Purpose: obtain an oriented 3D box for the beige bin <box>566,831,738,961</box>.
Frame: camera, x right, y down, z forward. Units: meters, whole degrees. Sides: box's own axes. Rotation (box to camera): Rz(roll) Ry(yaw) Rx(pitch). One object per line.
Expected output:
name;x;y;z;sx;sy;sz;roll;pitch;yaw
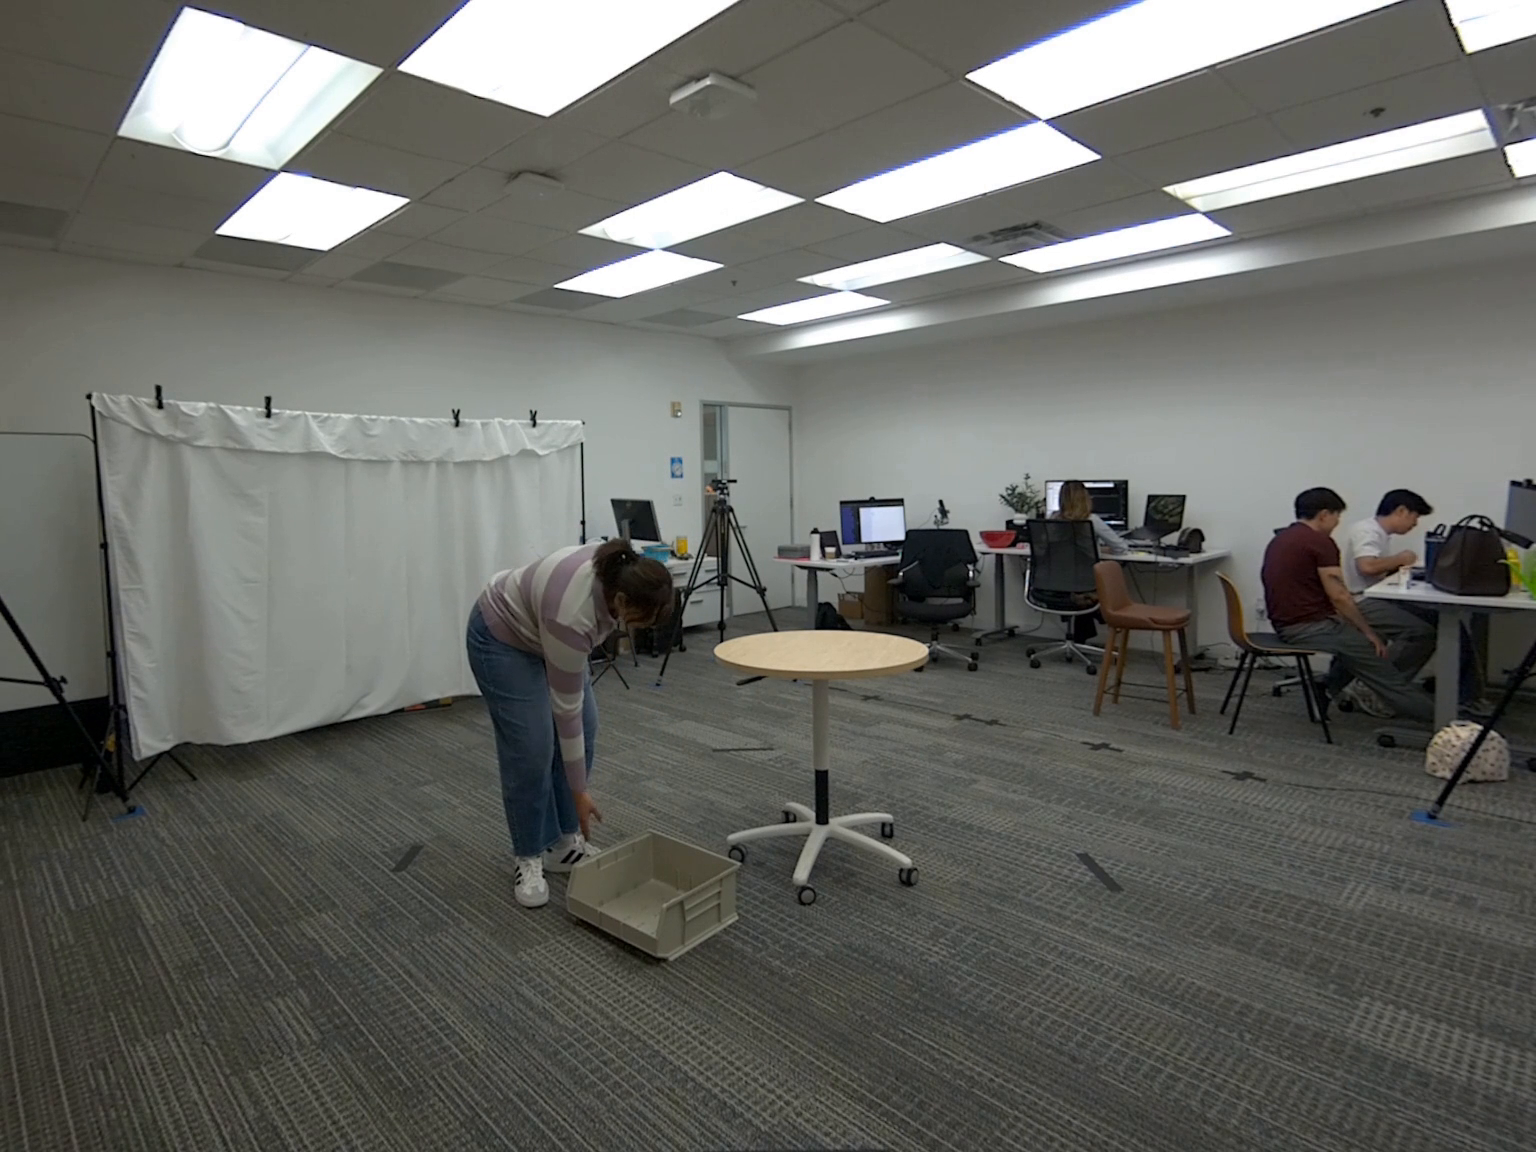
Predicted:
beige bin;-0.361;1.009;2.716;0.435;0.188;0.367;4;7;40
